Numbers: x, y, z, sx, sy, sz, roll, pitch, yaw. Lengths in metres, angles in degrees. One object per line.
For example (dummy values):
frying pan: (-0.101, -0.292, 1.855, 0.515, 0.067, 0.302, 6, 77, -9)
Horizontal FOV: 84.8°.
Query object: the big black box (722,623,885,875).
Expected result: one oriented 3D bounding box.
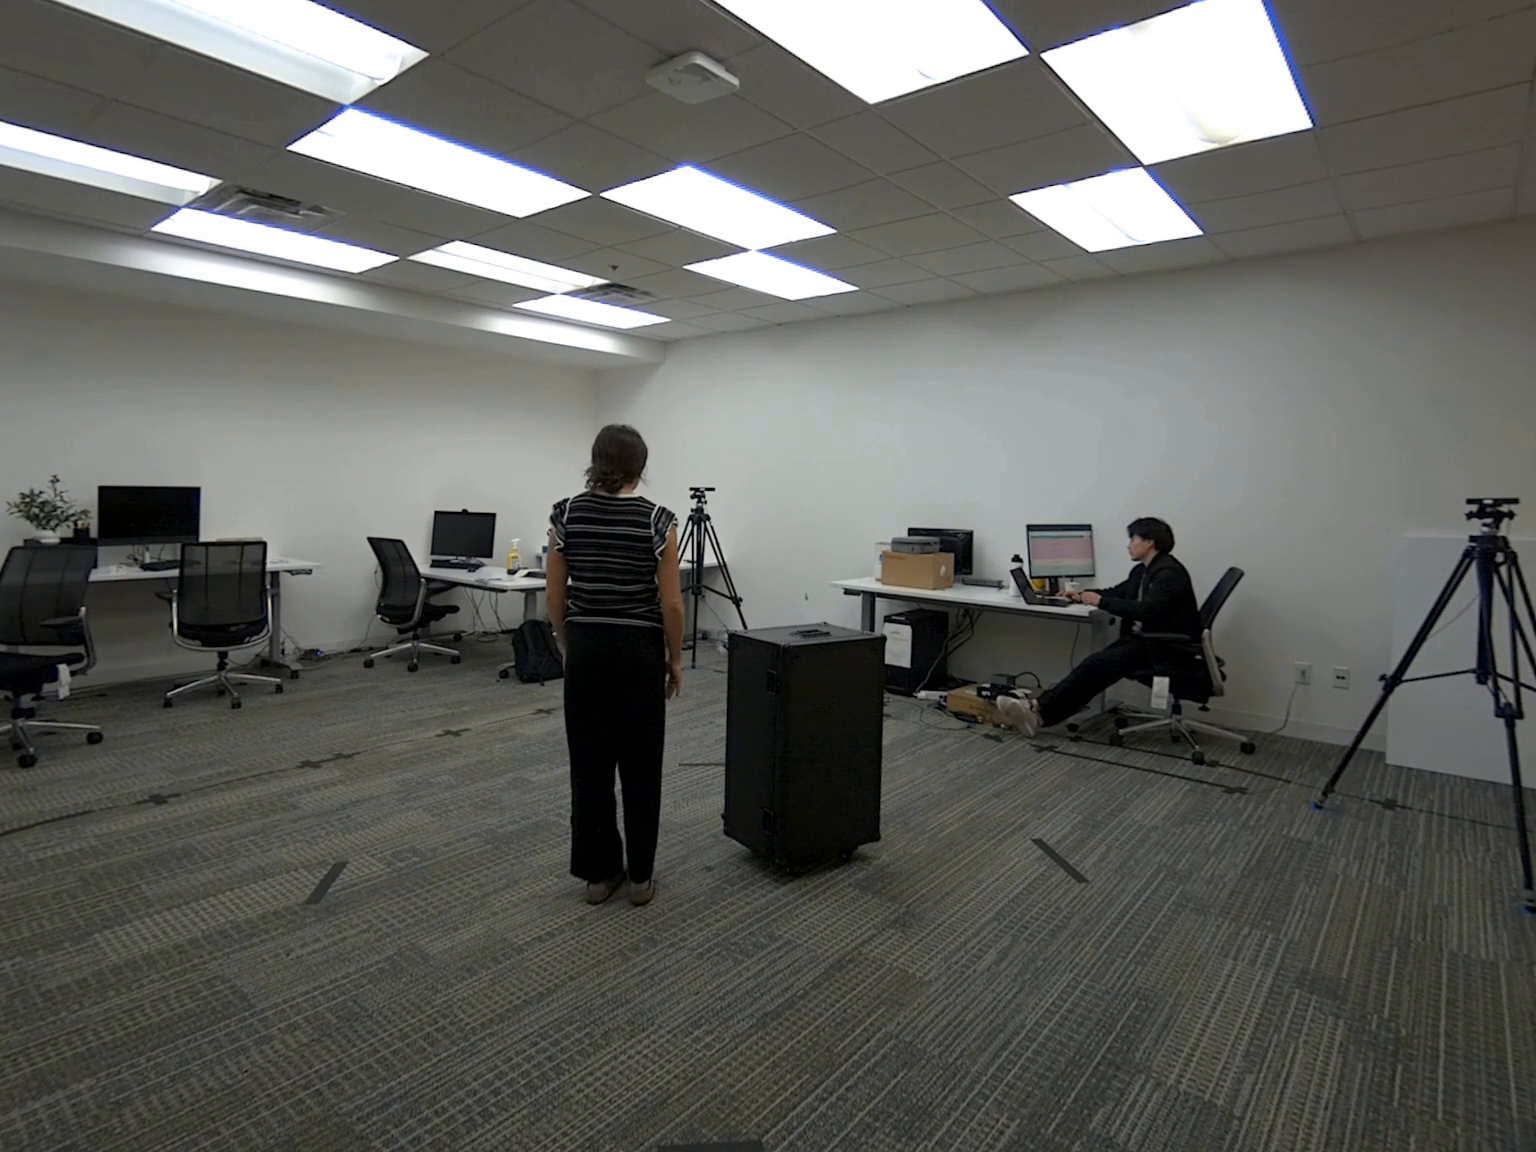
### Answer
big black box: (0.117, 0.637, 3.226, 0.506, 0.860, 0.409, -1, 3, -35)
